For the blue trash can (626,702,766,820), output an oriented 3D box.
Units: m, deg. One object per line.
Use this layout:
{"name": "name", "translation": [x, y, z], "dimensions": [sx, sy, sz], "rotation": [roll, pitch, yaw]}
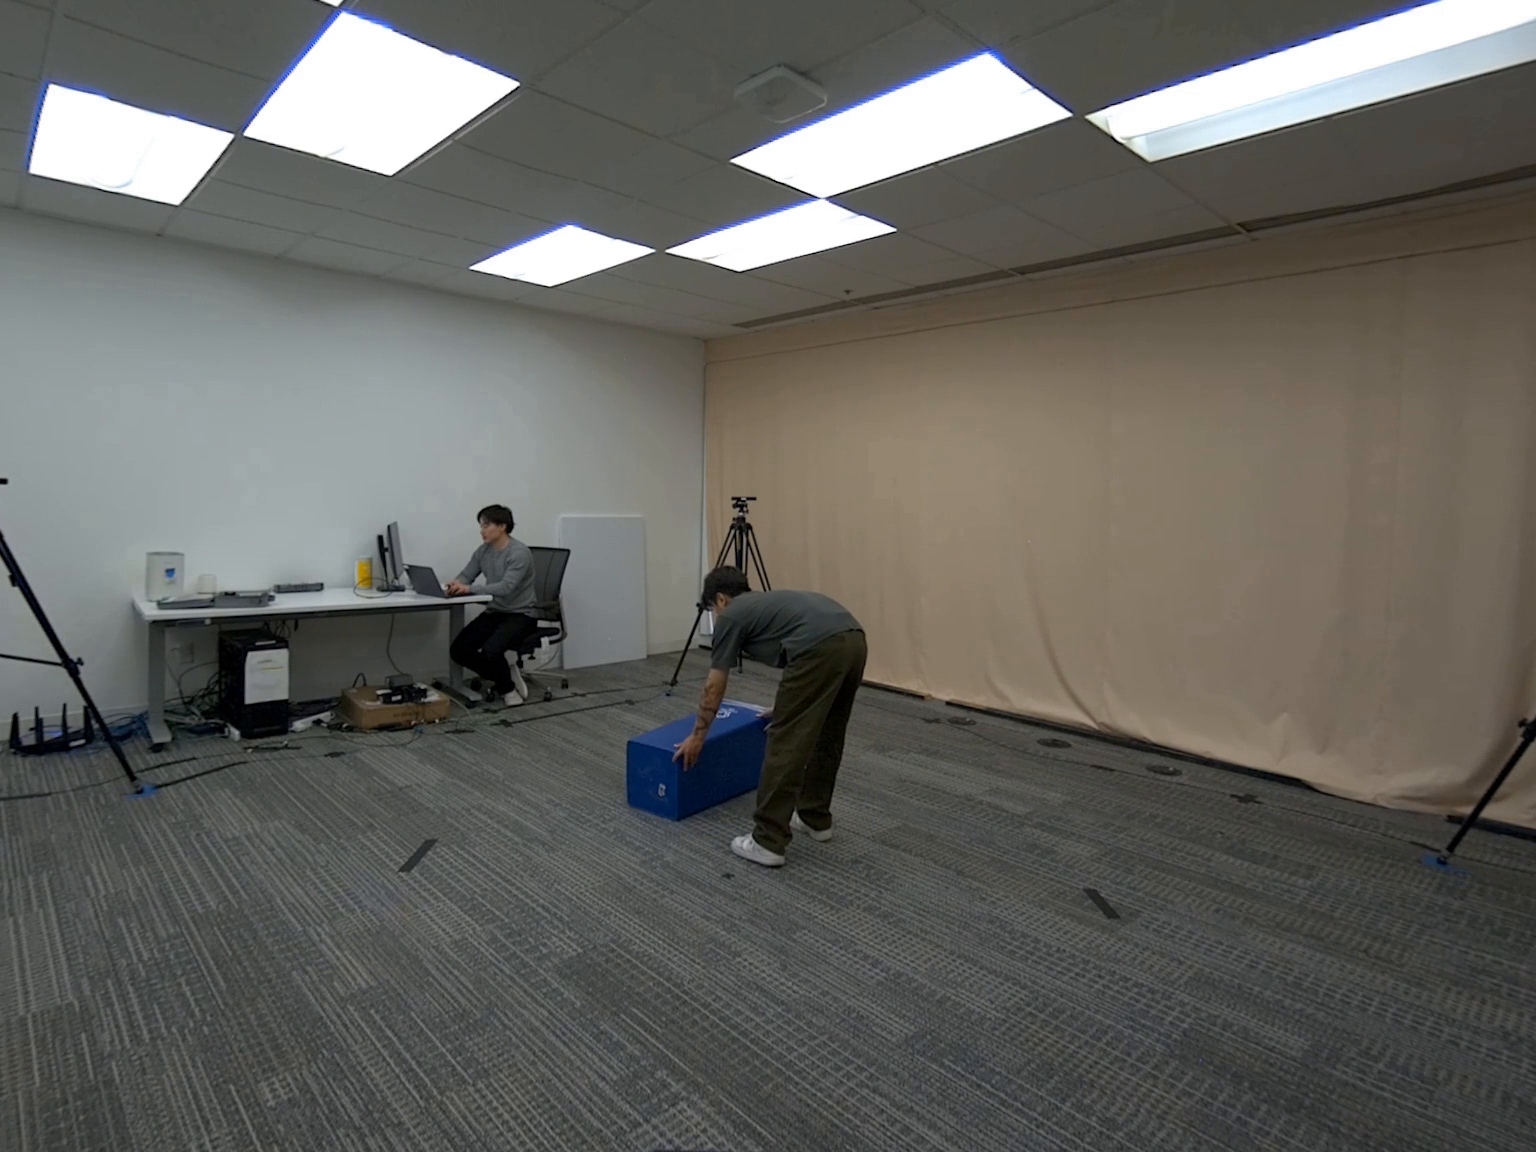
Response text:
{"name": "blue trash can", "translation": [-0.314, 0.852, 3.969], "dimensions": [0.387, 0.372, 0.699], "rotation": [5, 8, 36]}
